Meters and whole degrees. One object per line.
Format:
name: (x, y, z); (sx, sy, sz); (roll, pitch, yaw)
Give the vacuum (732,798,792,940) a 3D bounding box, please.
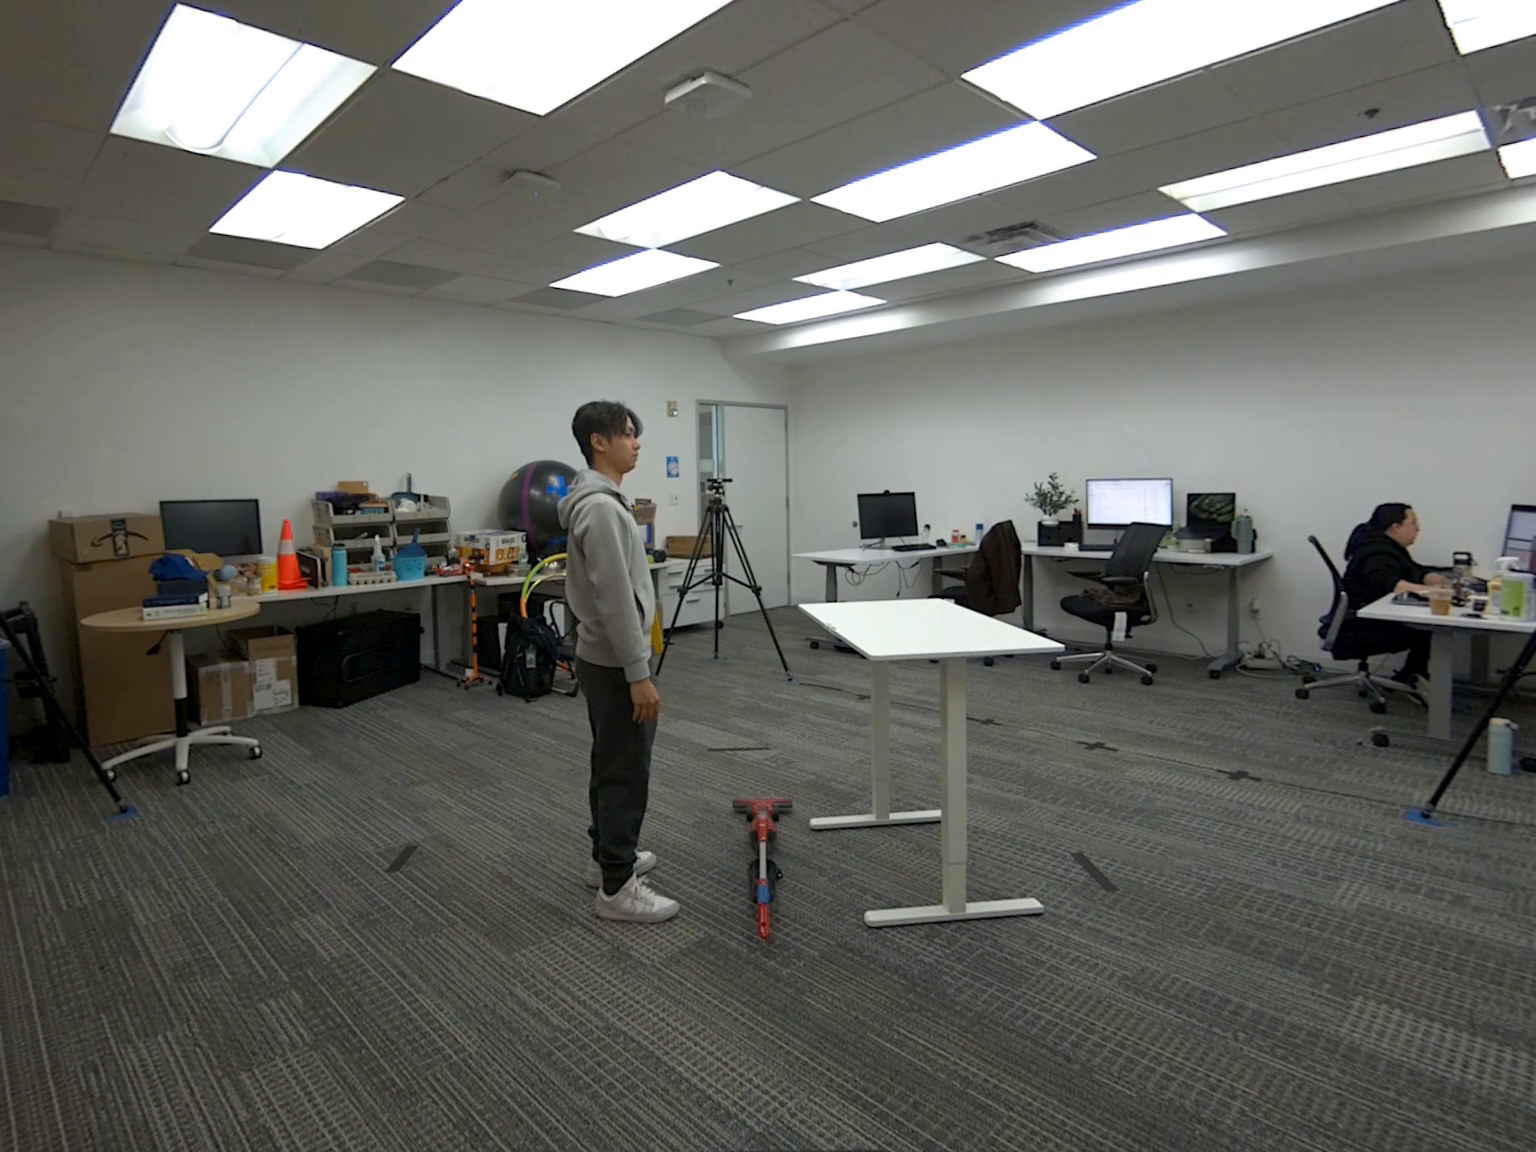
vacuum: (-0.022, 0.990, 3.009); (0.253, 0.143, 1.050); (-3, 4, 0)
